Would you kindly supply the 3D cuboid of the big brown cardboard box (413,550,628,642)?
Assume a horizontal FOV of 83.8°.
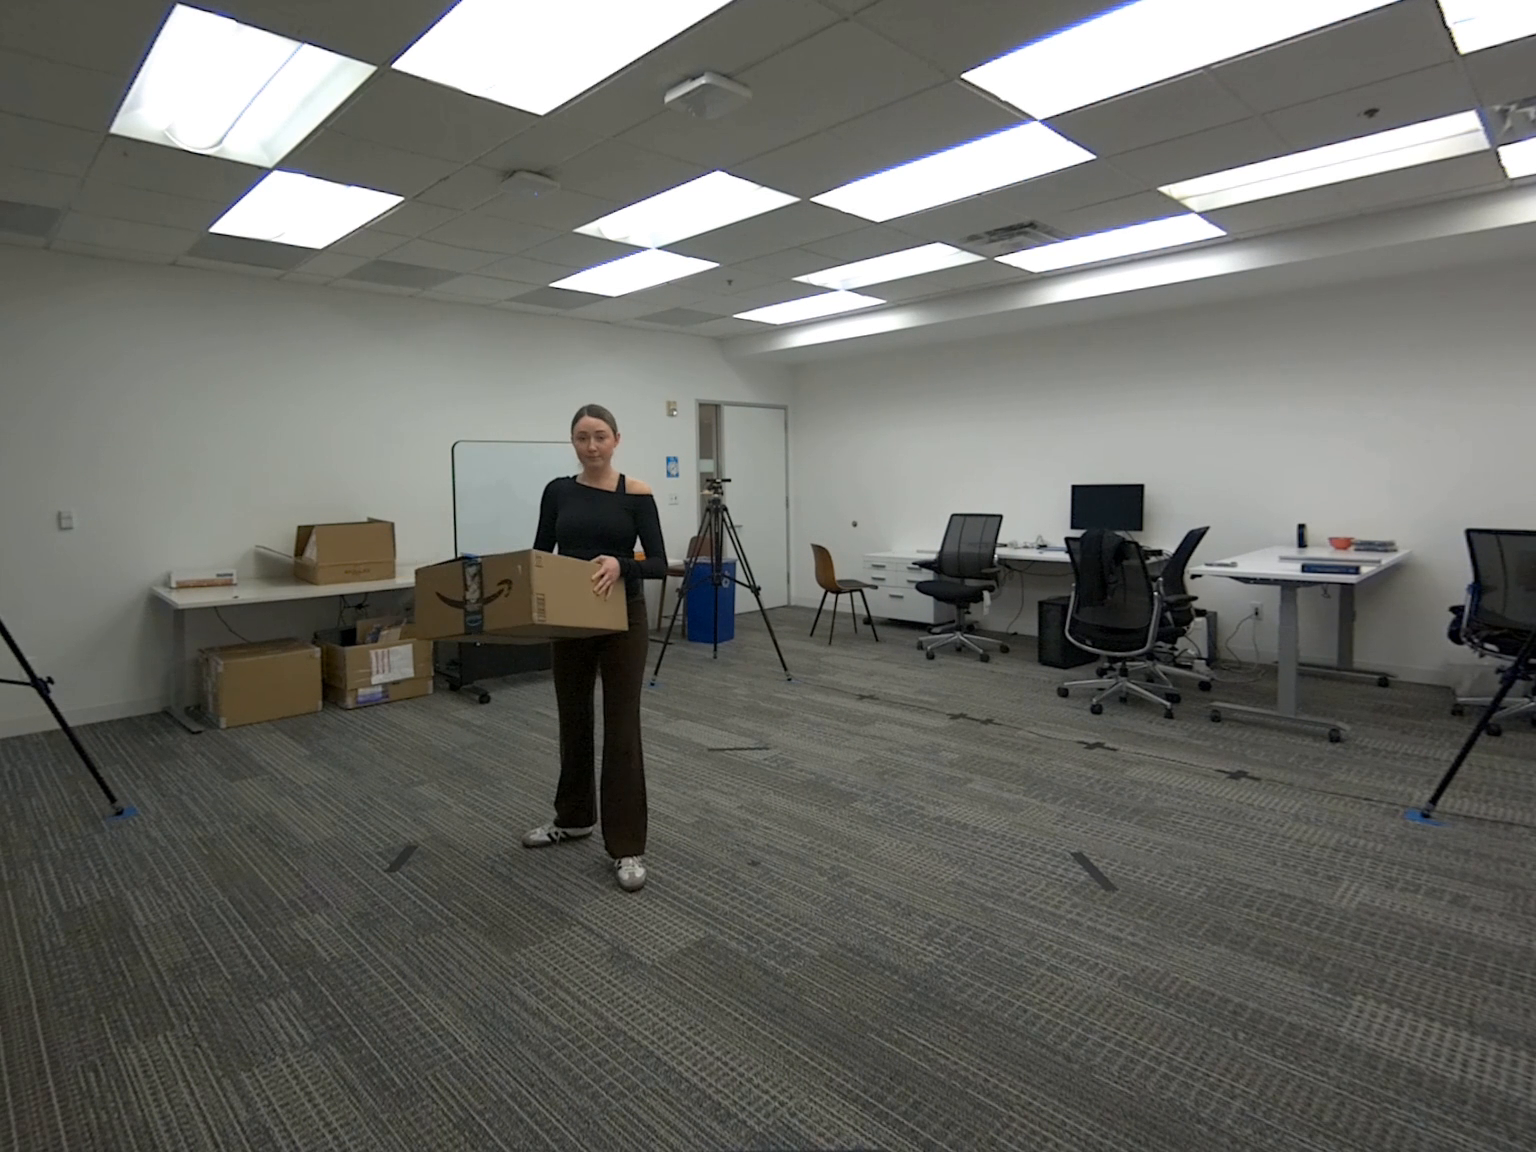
[{"bbox_3d":[-0.767,0.080,2.709,0.424,0.235,0.574,-8,-9,18],"label":"big brown cardboard box"}]
